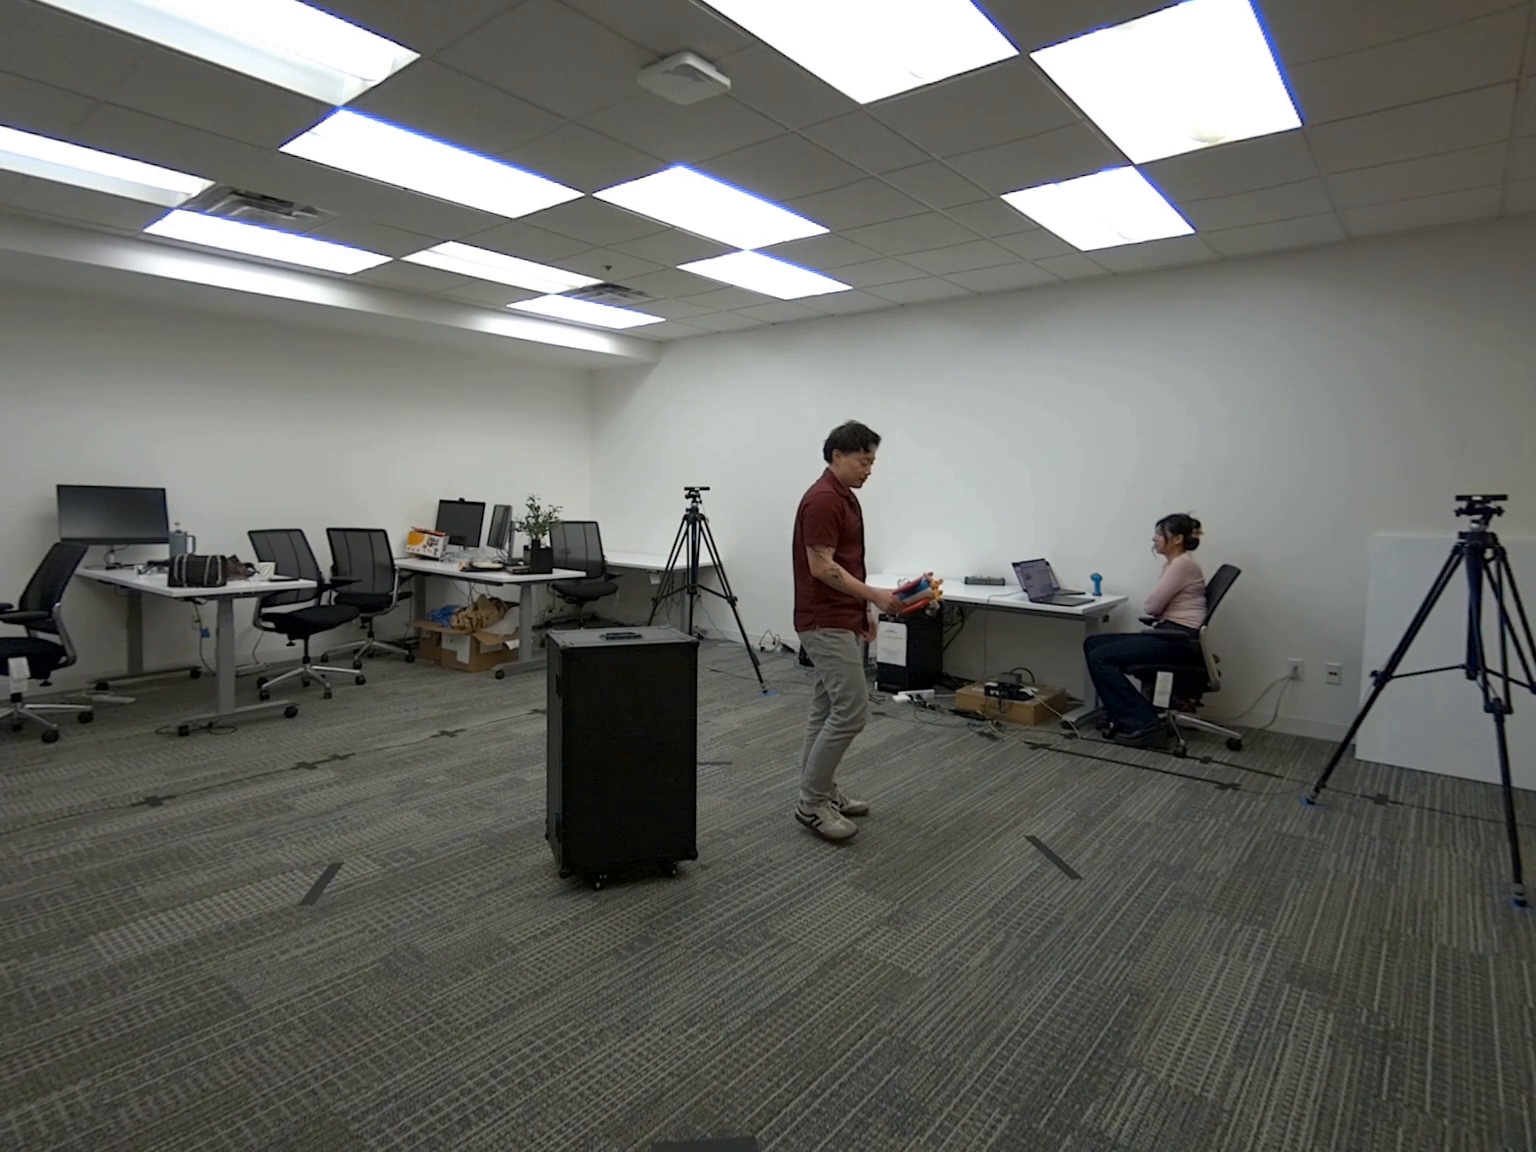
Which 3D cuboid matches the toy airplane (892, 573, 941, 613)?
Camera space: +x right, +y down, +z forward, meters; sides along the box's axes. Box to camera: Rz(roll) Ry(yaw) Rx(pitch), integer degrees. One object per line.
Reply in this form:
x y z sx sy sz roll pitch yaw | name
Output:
0.537 0.088 3.275 0.262 0.155 0.250 -14 6 11 | toy airplane
